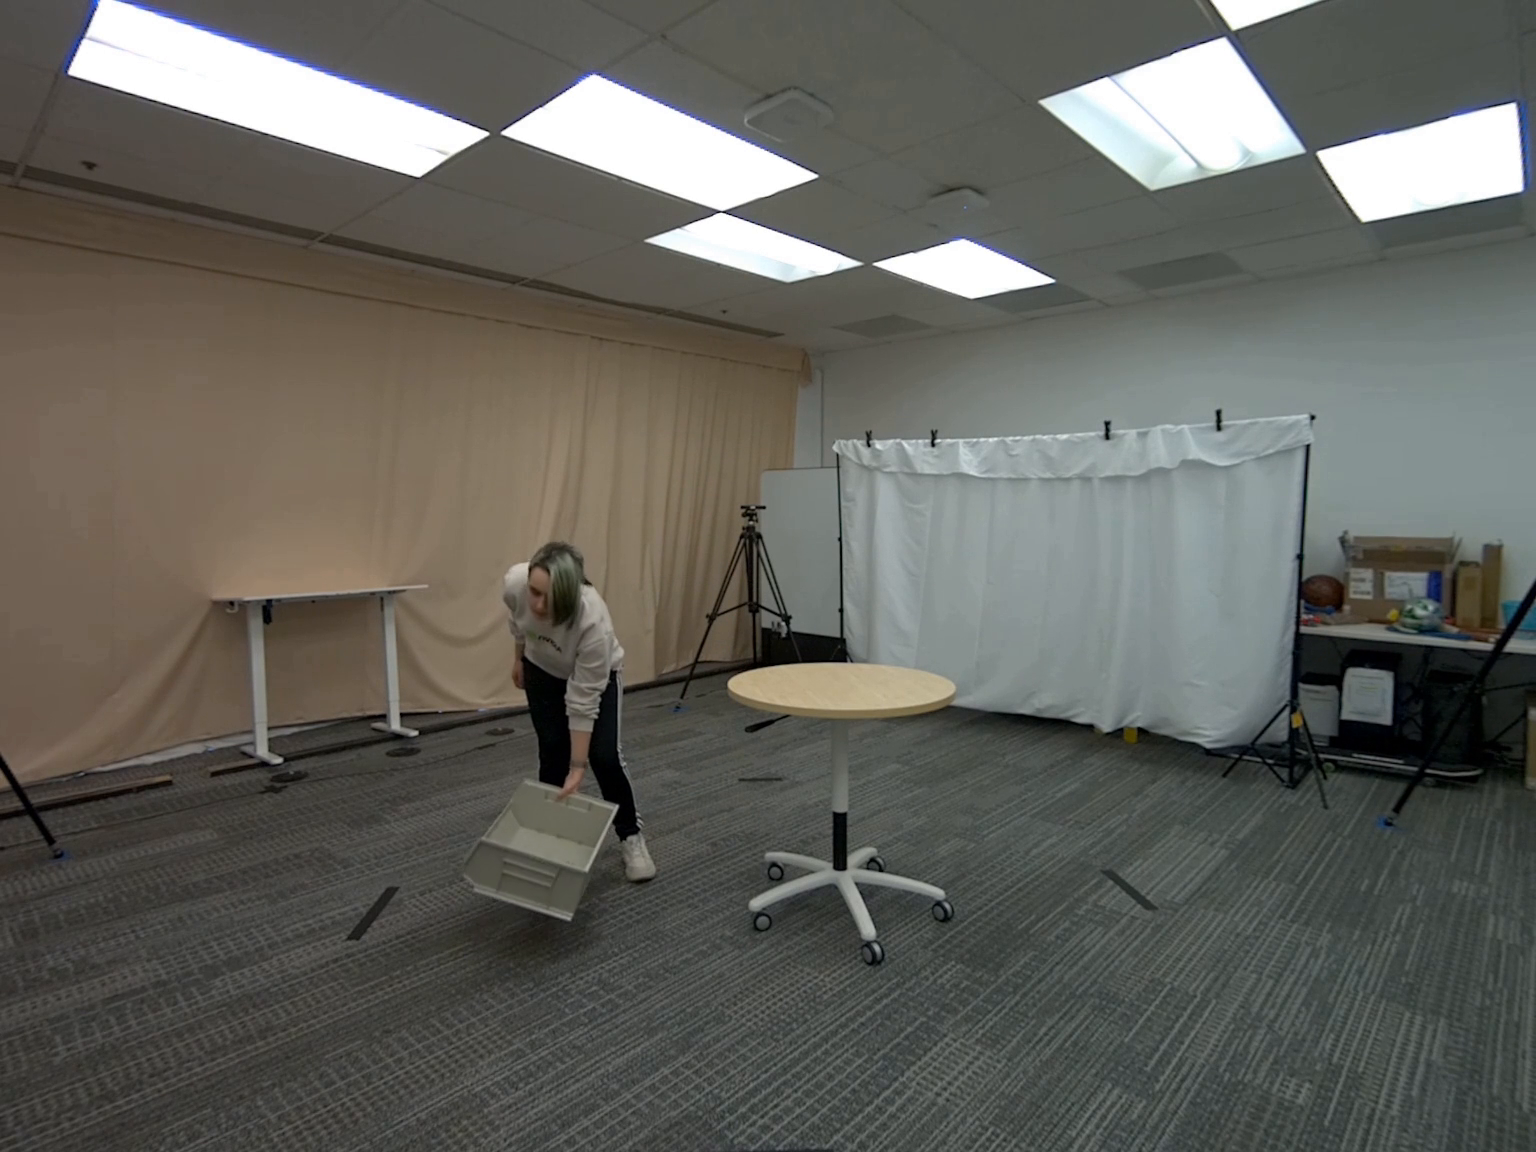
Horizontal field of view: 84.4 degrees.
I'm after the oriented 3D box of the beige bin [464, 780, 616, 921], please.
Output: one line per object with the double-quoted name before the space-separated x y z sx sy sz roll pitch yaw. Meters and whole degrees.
"beige bin" -0.734 0.870 2.721 0.379 0.188 0.422 15 11 2
